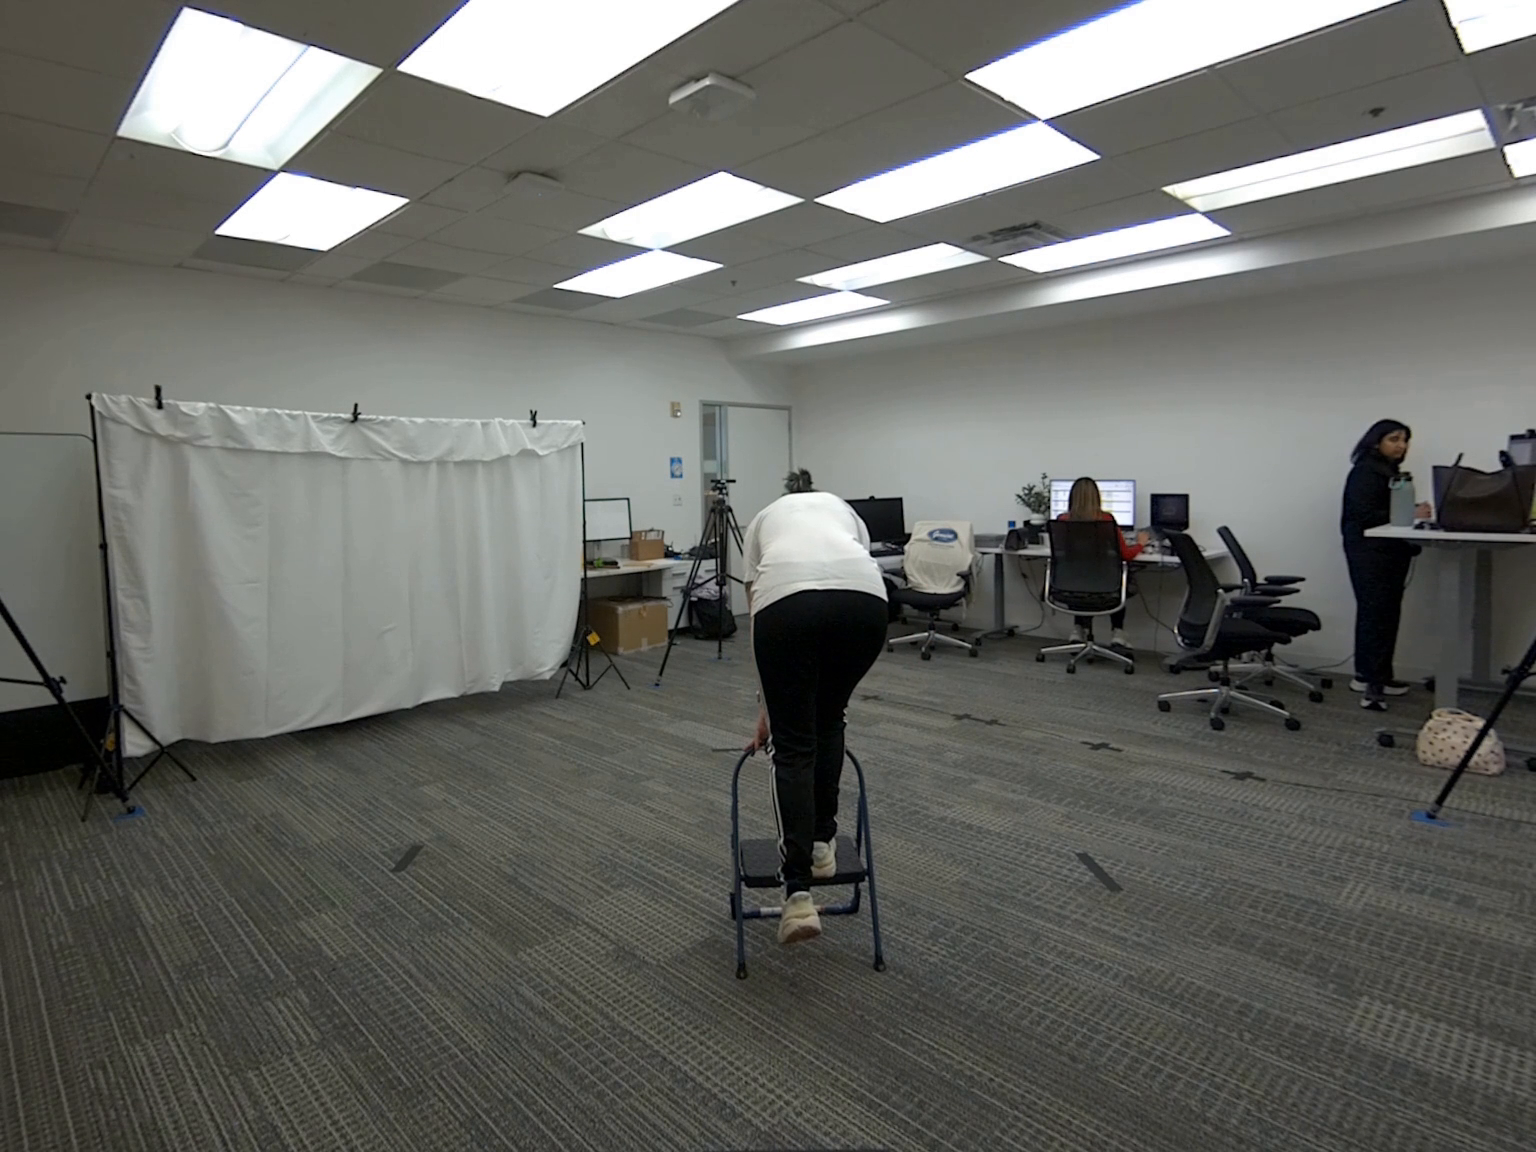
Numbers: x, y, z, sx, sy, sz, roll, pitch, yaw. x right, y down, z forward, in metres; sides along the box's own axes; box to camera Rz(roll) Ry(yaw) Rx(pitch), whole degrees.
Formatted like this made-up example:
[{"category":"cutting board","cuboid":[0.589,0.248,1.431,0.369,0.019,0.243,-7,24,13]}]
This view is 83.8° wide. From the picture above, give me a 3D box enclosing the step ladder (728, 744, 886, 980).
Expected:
[{"category":"step ladder","cuboid":[0.103,0.810,2.564,0.429,0.604,0.352,-2,4,-5]}]
